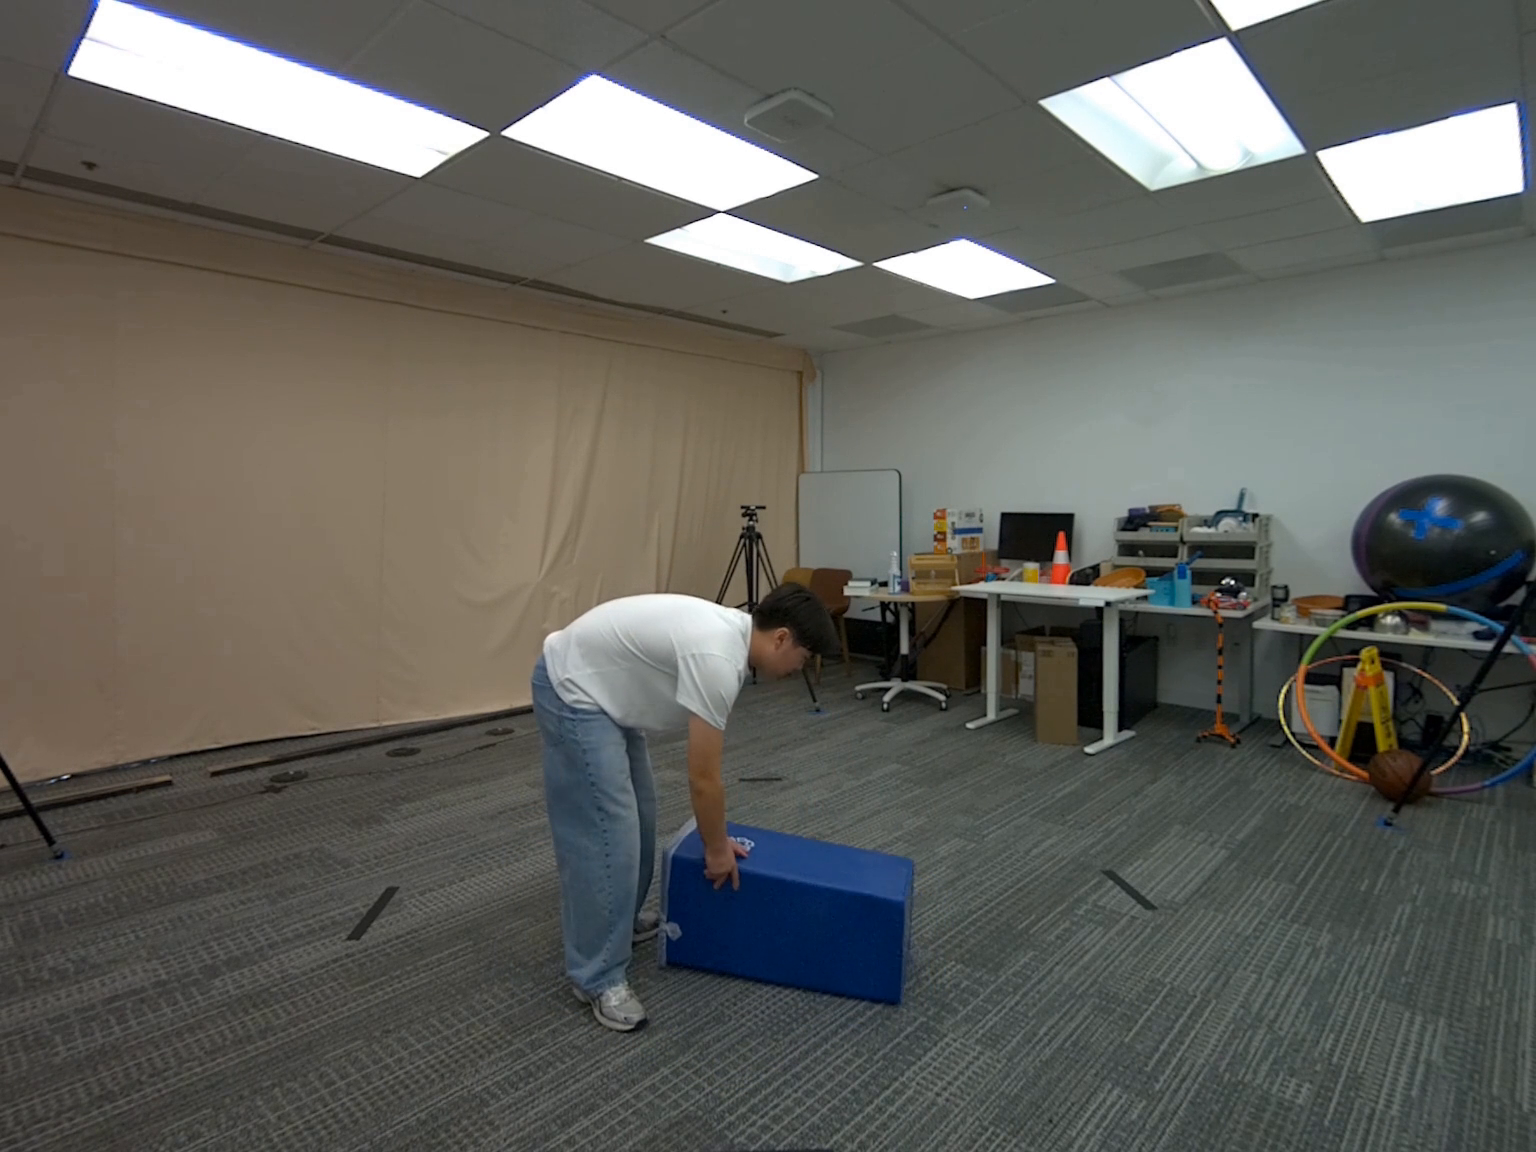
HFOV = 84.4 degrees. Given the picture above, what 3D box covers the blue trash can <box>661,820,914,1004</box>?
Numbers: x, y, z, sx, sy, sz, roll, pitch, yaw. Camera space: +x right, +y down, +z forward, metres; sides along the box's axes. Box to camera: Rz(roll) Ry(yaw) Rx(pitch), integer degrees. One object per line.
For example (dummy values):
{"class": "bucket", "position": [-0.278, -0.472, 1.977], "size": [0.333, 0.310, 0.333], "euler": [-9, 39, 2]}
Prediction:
{"class": "blue trash can", "position": [0.073, 1.006, 2.575], "size": [0.727, 0.377, 0.367], "euler": [3, 3, 17]}
